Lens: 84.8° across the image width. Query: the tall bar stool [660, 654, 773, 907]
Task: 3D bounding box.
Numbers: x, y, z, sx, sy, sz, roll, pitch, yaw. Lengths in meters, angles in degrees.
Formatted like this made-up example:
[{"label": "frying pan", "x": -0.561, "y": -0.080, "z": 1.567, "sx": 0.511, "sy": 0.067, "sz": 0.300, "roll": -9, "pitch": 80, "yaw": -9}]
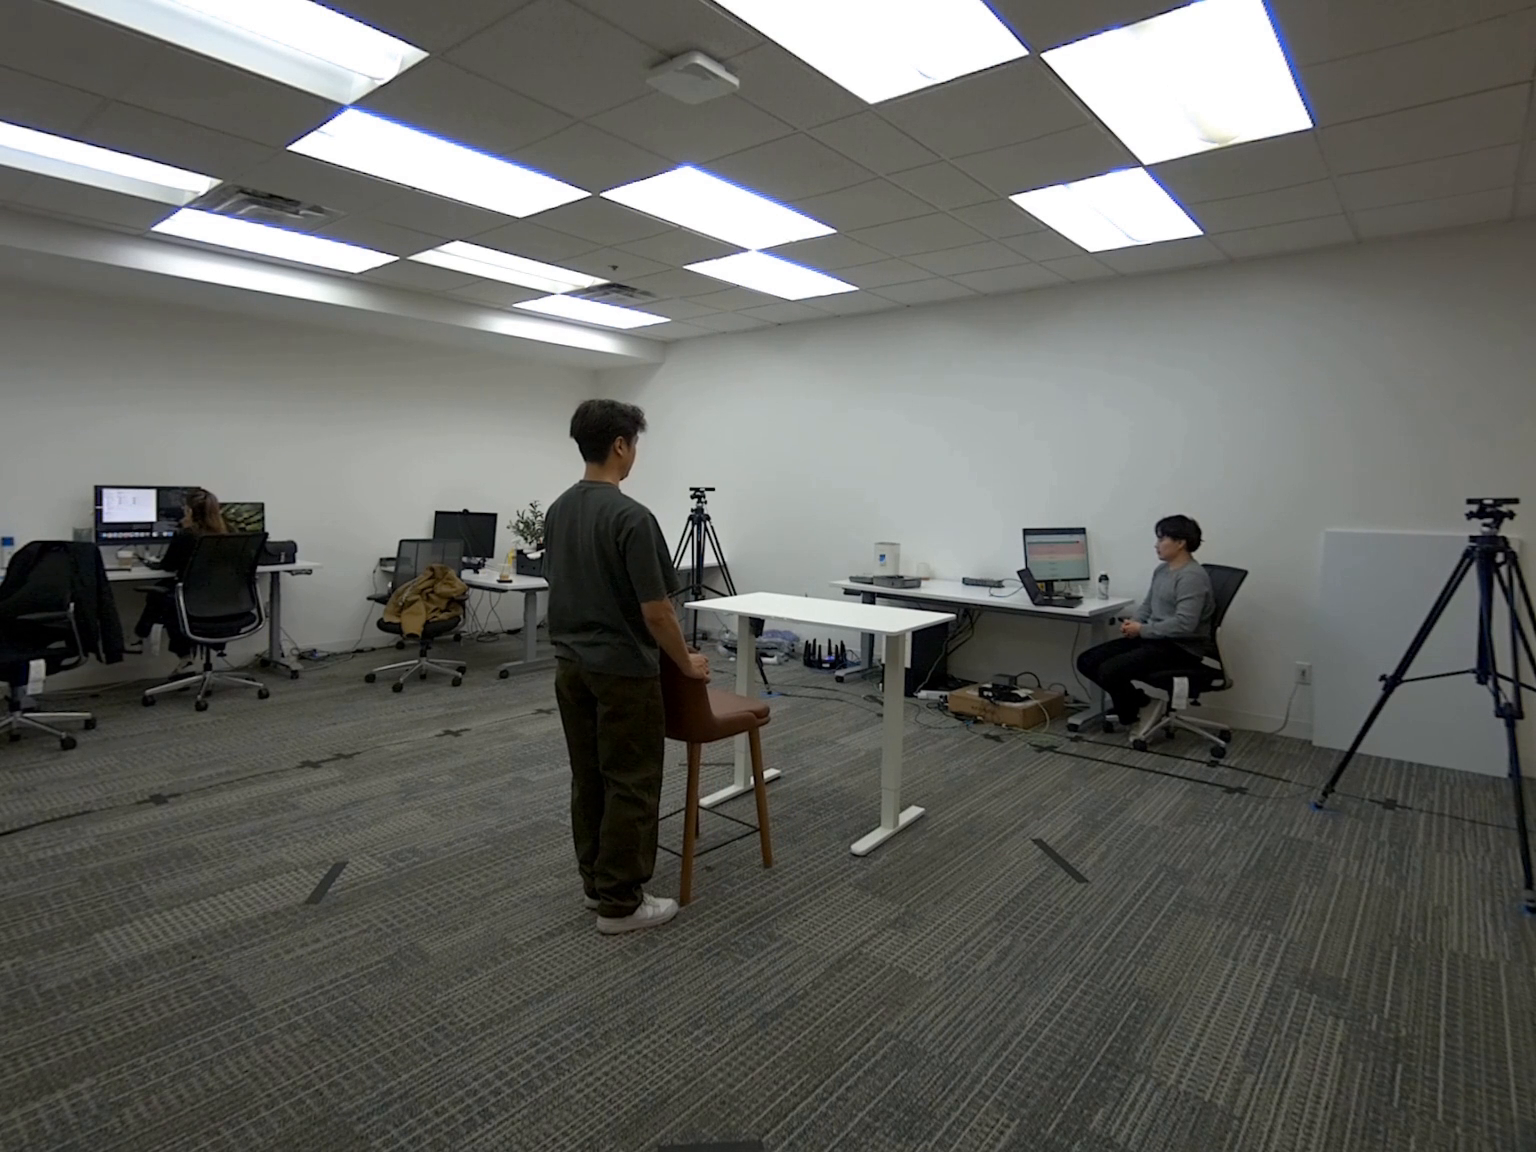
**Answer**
[{"label": "tall bar stool", "x": -0.285, "y": 0.631, "z": 3.082, "sx": 0.472, "sy": 0.886, "sz": 0.454, "roll": 3, "pitch": 6, "yaw": 41}]
